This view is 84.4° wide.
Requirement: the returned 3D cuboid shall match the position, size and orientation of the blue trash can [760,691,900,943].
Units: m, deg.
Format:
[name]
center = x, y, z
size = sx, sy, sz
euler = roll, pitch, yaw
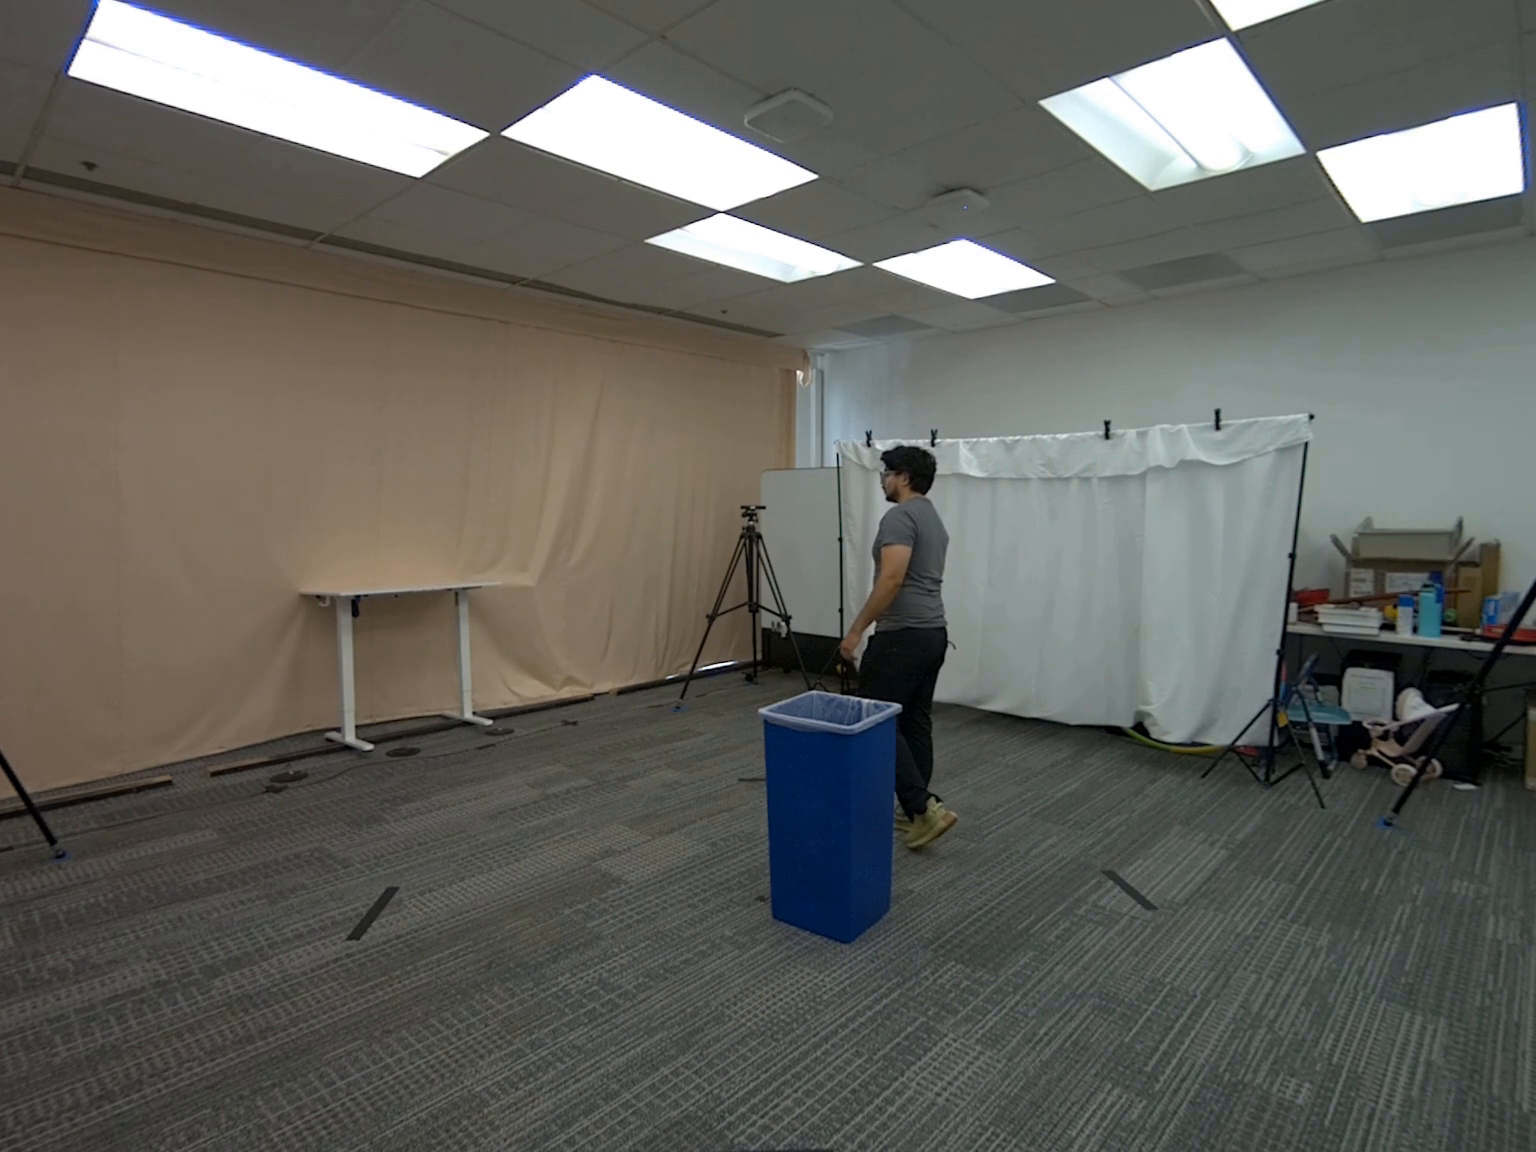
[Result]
[blue trash can]
center = 0.214, 0.797, 2.845
size = 0.390, 0.712, 0.363
euler = 2, 4, 36
